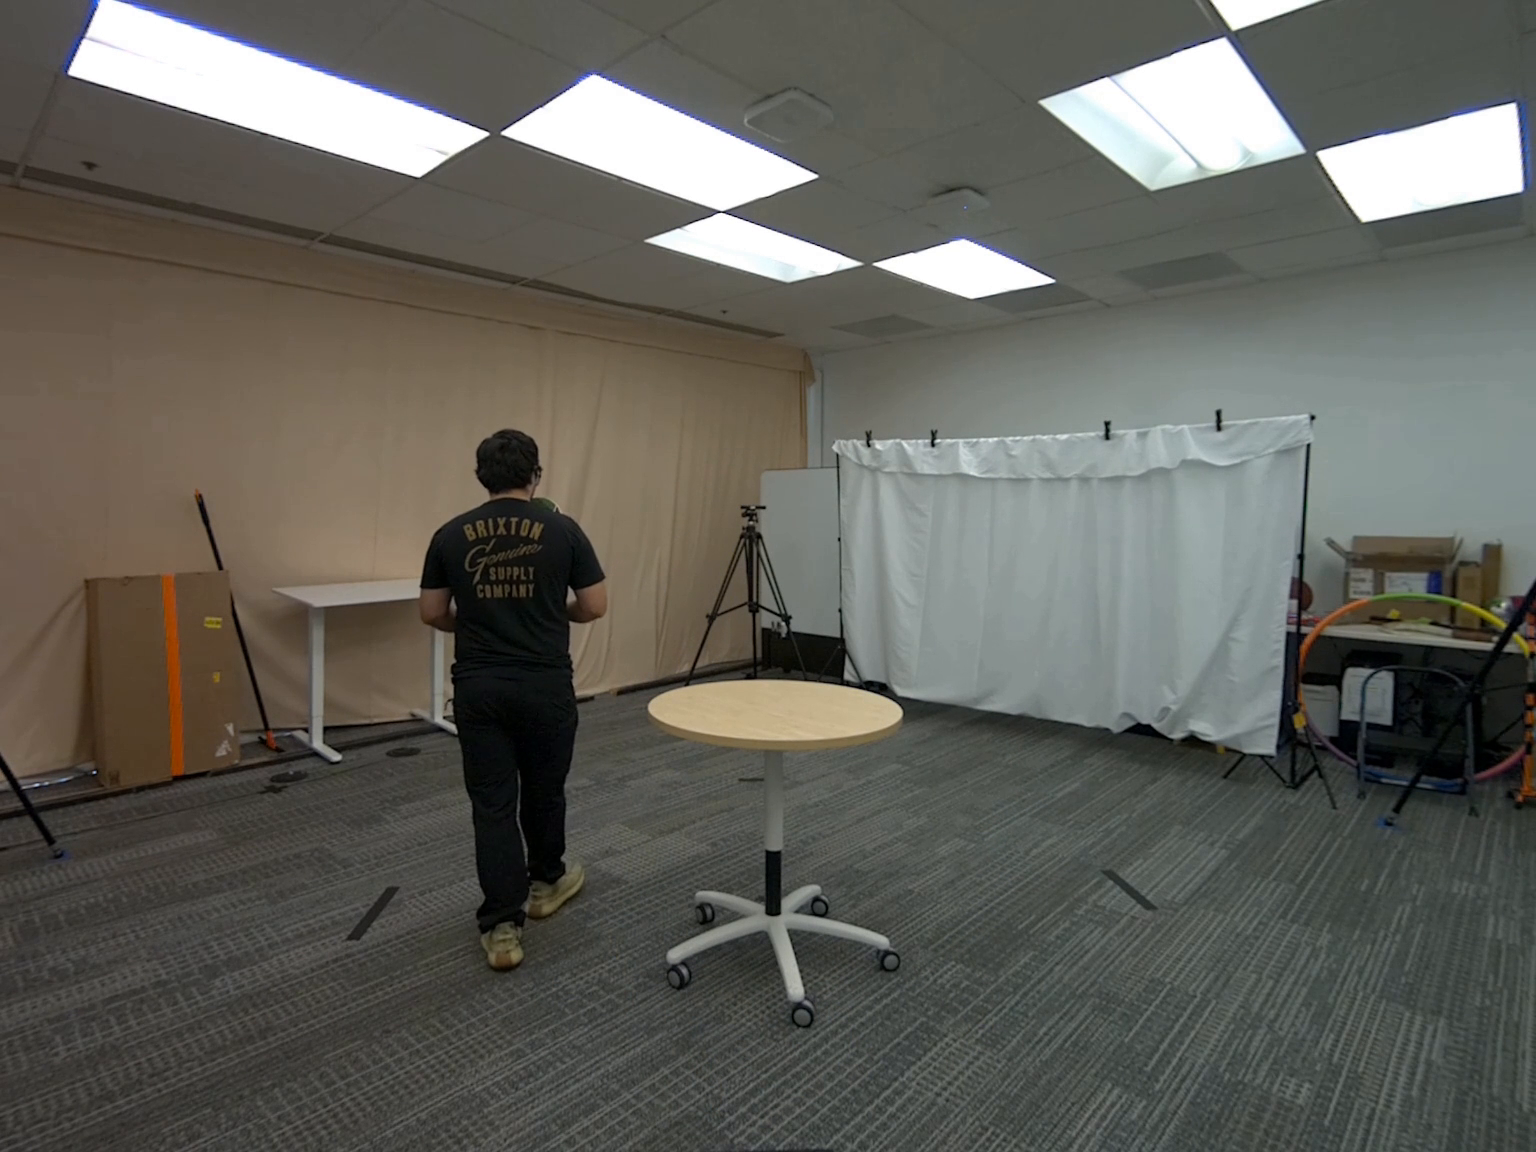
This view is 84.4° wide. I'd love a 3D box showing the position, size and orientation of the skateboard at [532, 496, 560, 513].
[{"bbox_3d":[-0.887,0.105,2.967,0.194,0.785,0.110,11,0,3],"label":"skateboard"}]
